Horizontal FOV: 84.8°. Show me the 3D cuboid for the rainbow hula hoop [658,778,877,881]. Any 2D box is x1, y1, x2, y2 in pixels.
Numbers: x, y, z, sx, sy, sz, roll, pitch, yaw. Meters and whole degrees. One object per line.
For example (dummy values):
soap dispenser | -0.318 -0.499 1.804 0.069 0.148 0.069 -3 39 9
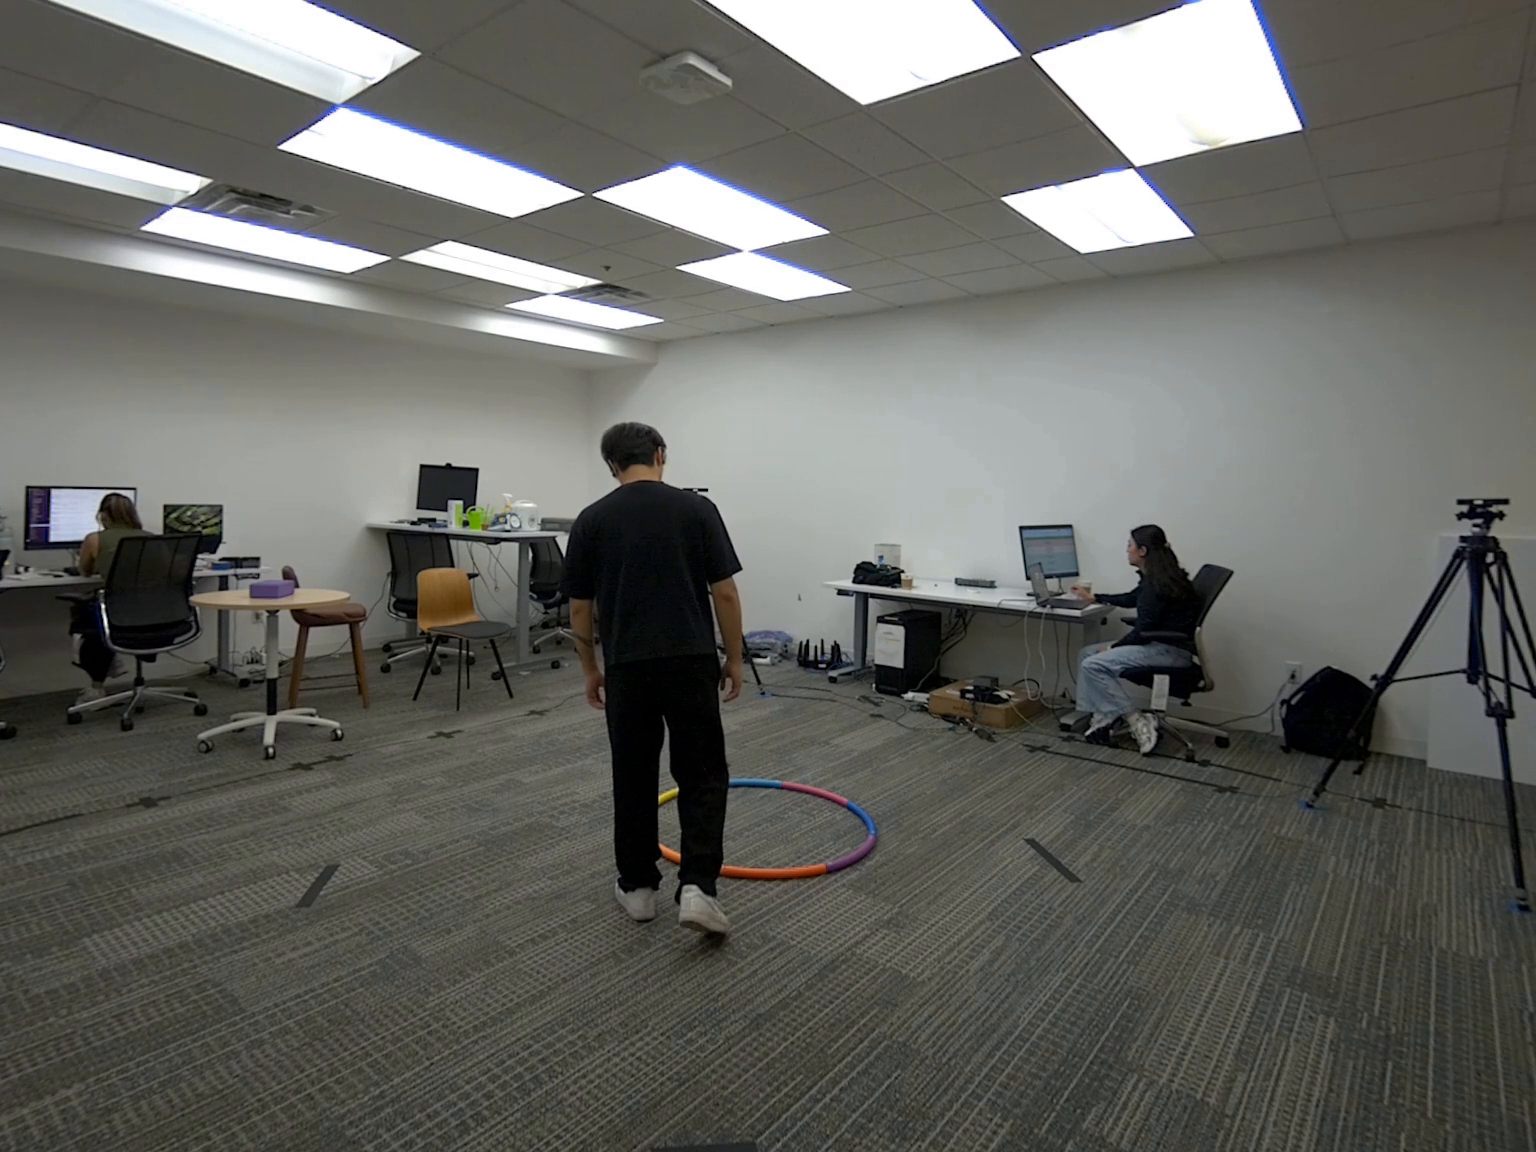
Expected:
rainbow hula hoop | -0.057 1.003 3.515 0.978 0.035 0.984 1 6 -2
